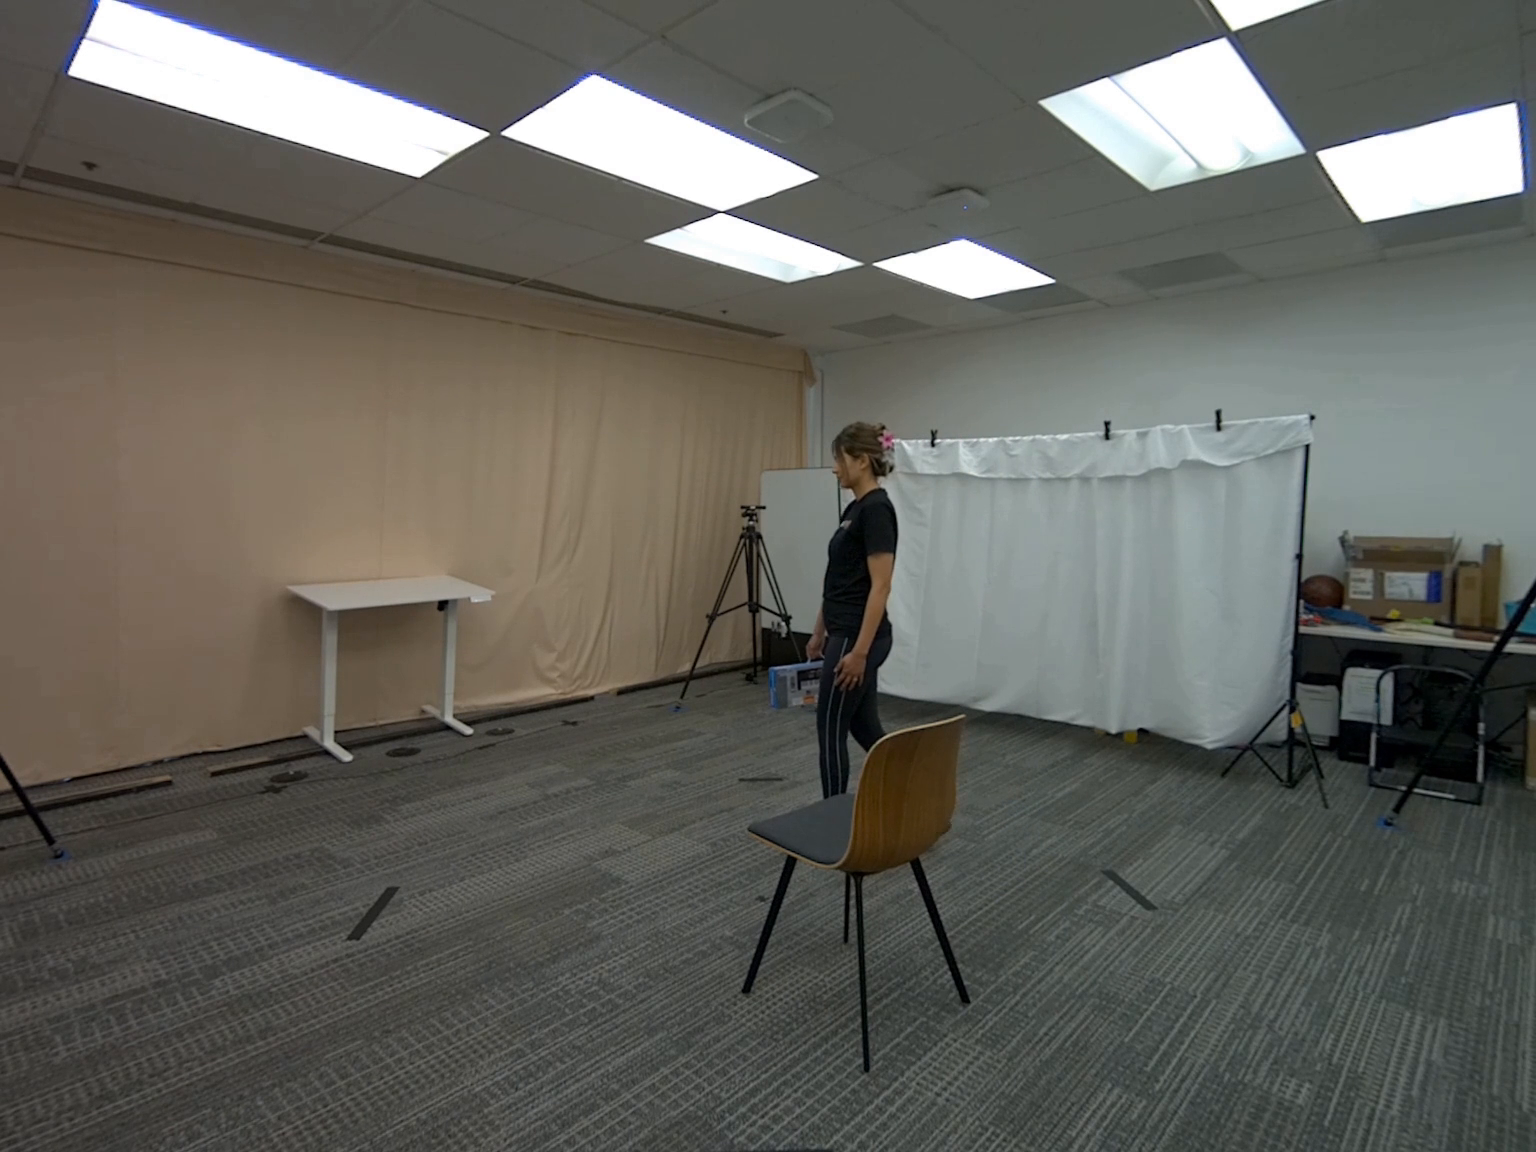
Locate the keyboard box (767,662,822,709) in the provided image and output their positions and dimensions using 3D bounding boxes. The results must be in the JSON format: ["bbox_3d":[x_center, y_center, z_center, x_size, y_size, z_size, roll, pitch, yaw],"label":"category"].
[{"bbox_3d":[0.220,0.464,3.673,0.429,0.175,0.060,-4,4,-19],"label":"keyboard box"}]
